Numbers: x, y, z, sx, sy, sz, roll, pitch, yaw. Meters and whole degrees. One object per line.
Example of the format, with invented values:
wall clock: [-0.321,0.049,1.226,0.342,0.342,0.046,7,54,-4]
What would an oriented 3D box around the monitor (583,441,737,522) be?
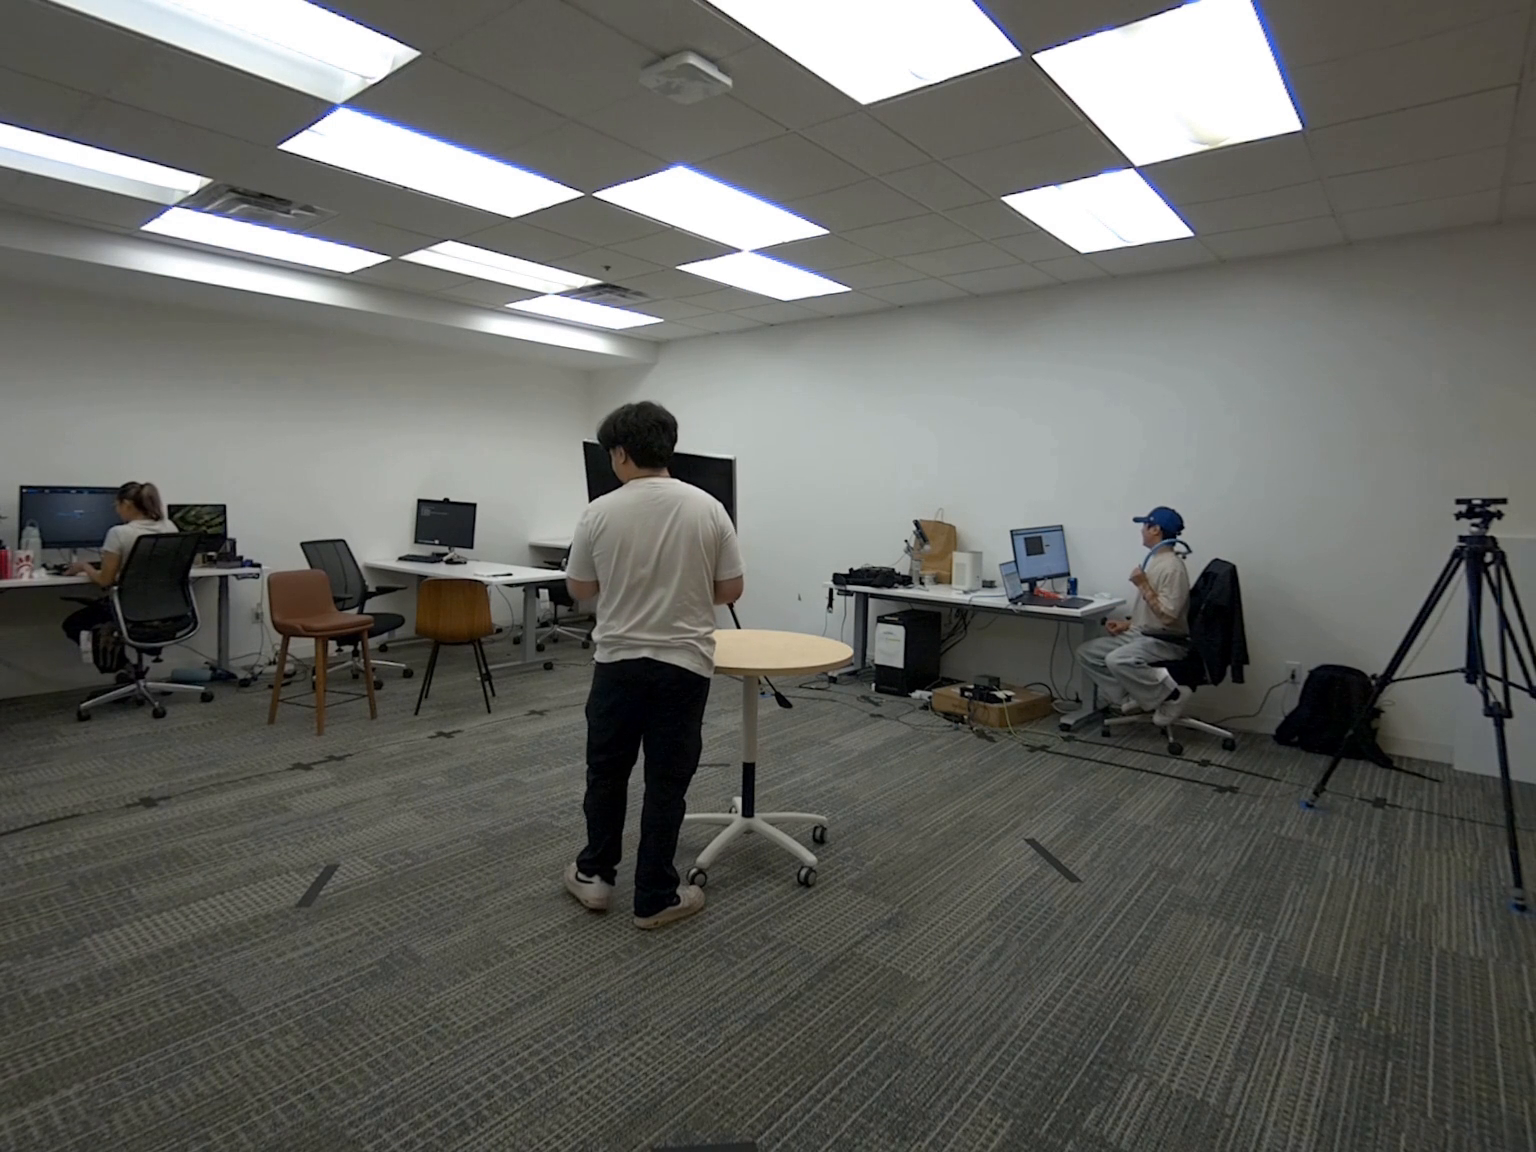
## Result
monitor: [-0.414,-0.168,2.926,0.578,0.543,0.210,10,23,18]
